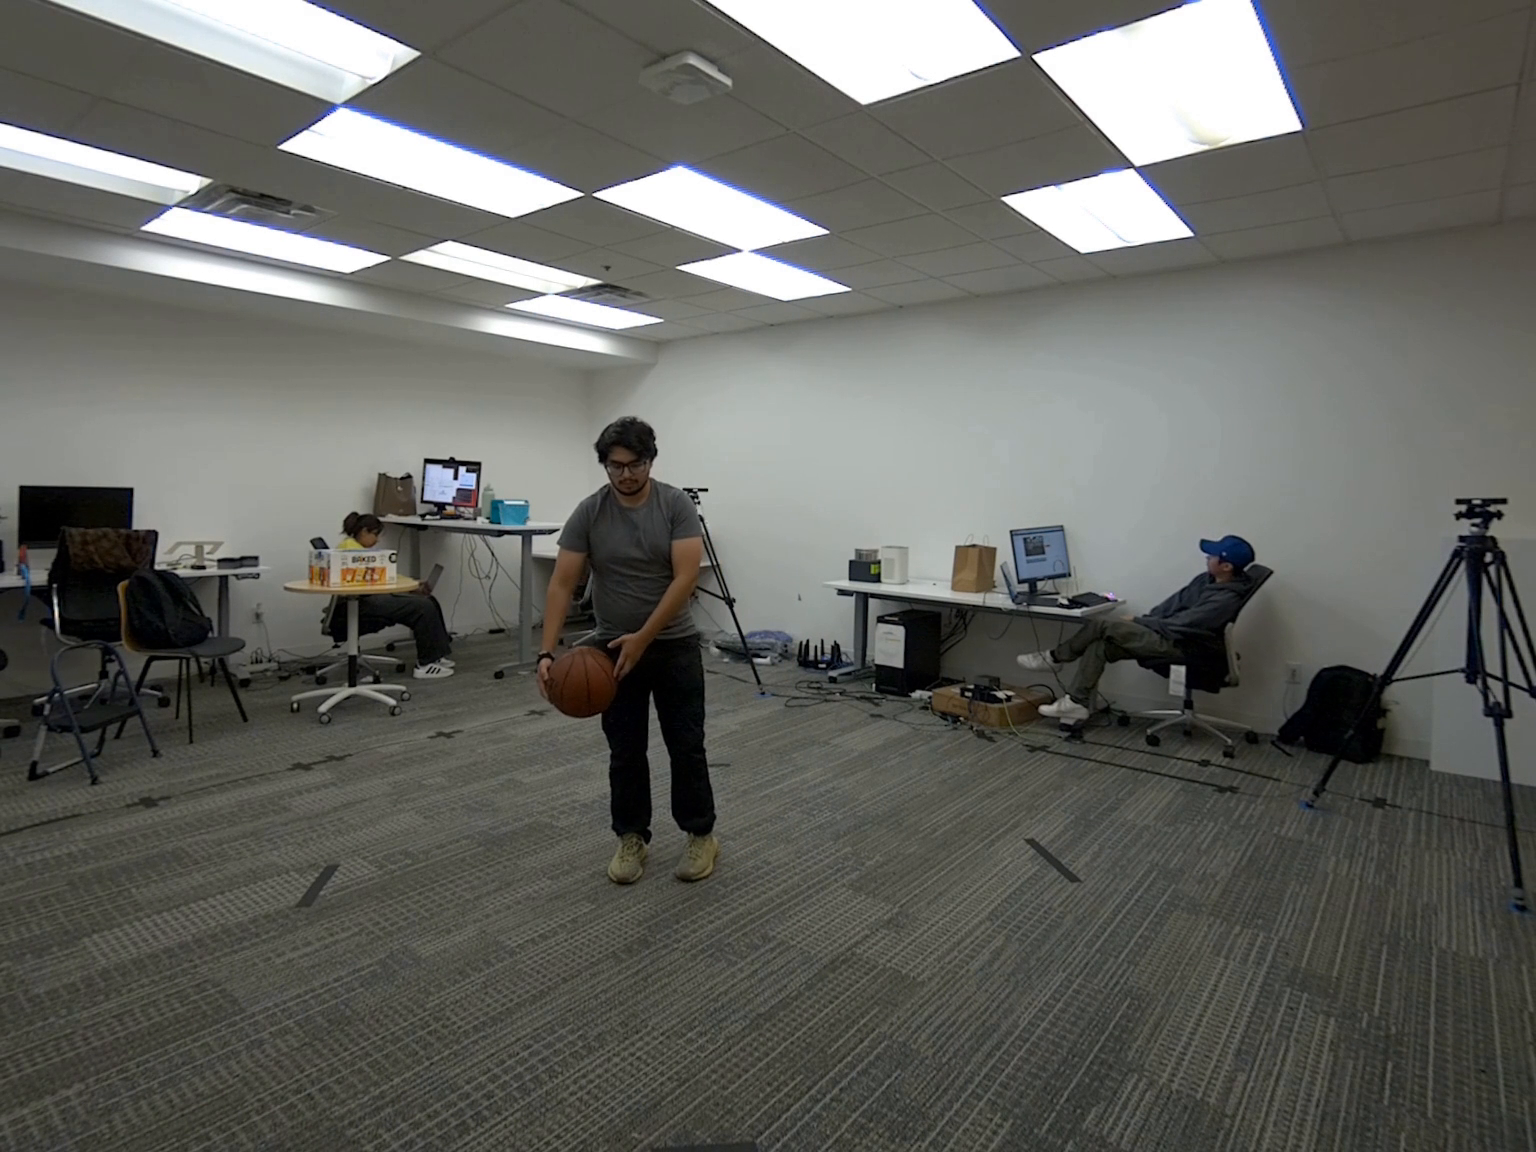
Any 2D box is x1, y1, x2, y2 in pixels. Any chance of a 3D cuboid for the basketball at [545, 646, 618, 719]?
[{"bbox_3d":[-0.630,0.347,2.846,0.235,0.235,0.237,1,4,-2],"label":"basketball"}]
